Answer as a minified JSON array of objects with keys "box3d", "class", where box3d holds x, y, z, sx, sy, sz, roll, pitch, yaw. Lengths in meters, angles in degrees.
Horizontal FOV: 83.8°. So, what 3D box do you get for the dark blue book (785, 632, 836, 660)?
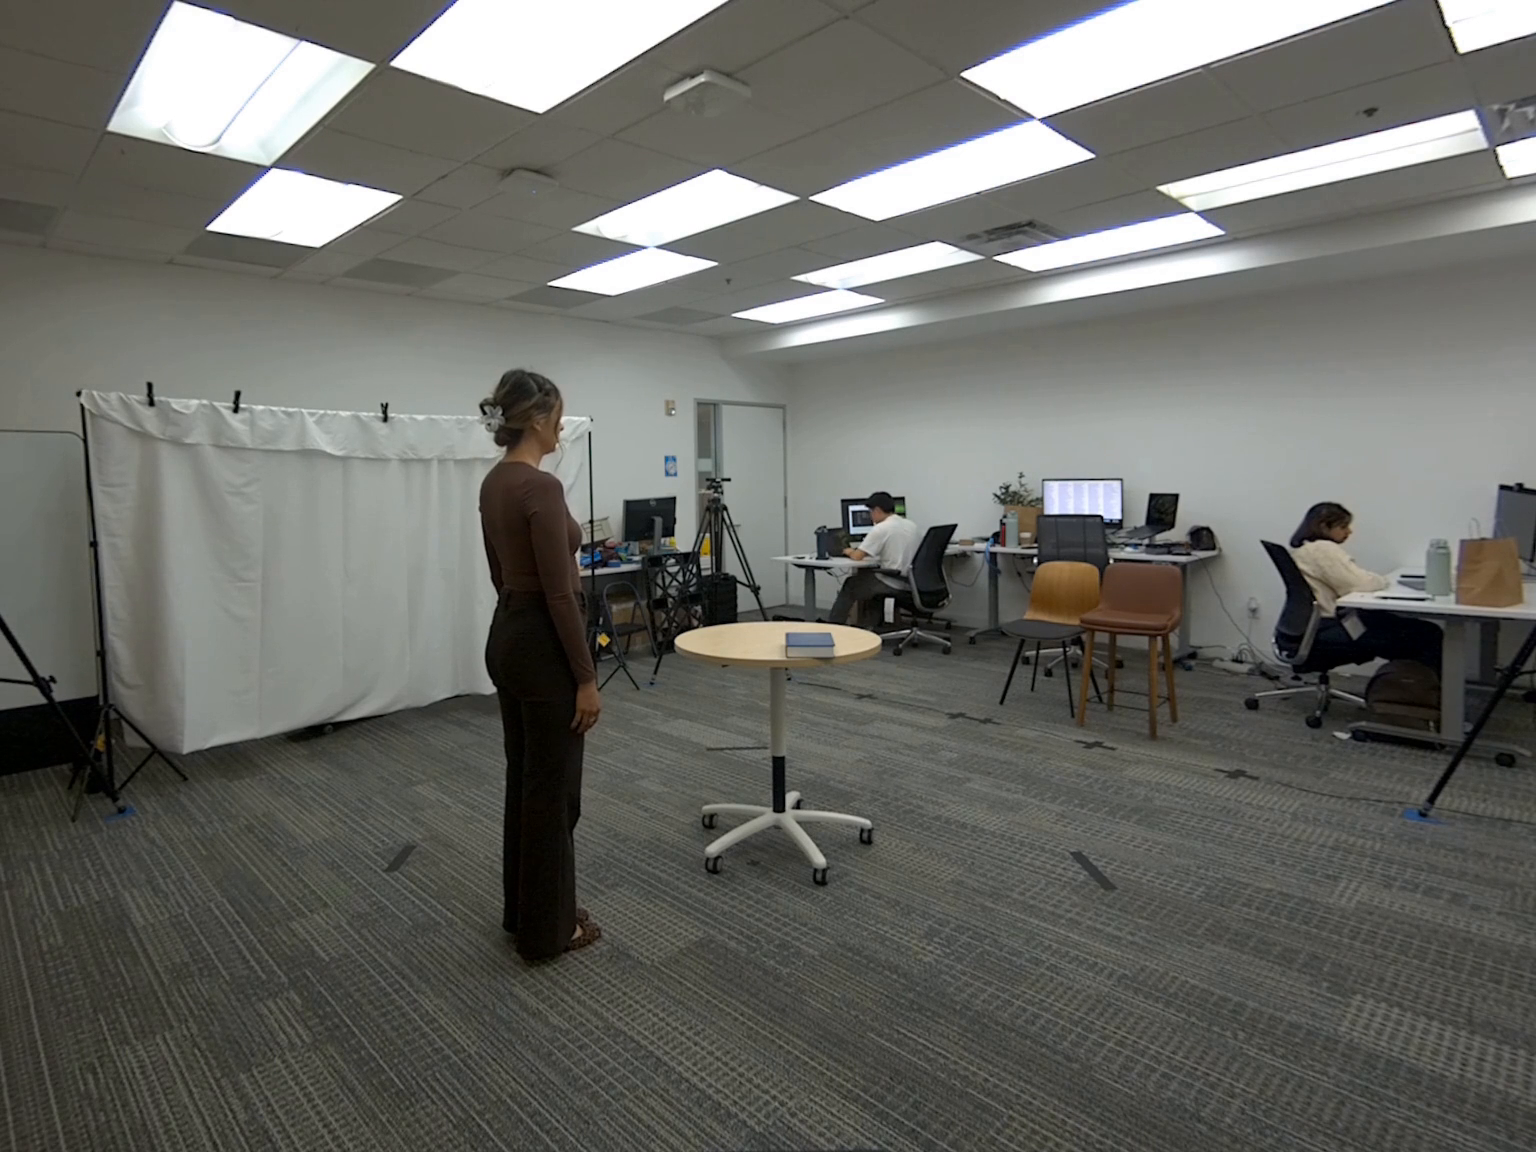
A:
[{"box3d":[0.148,0.238,2.940,0.164,0.045,0.245,-1,6,2],"class":"dark blue book"}]
